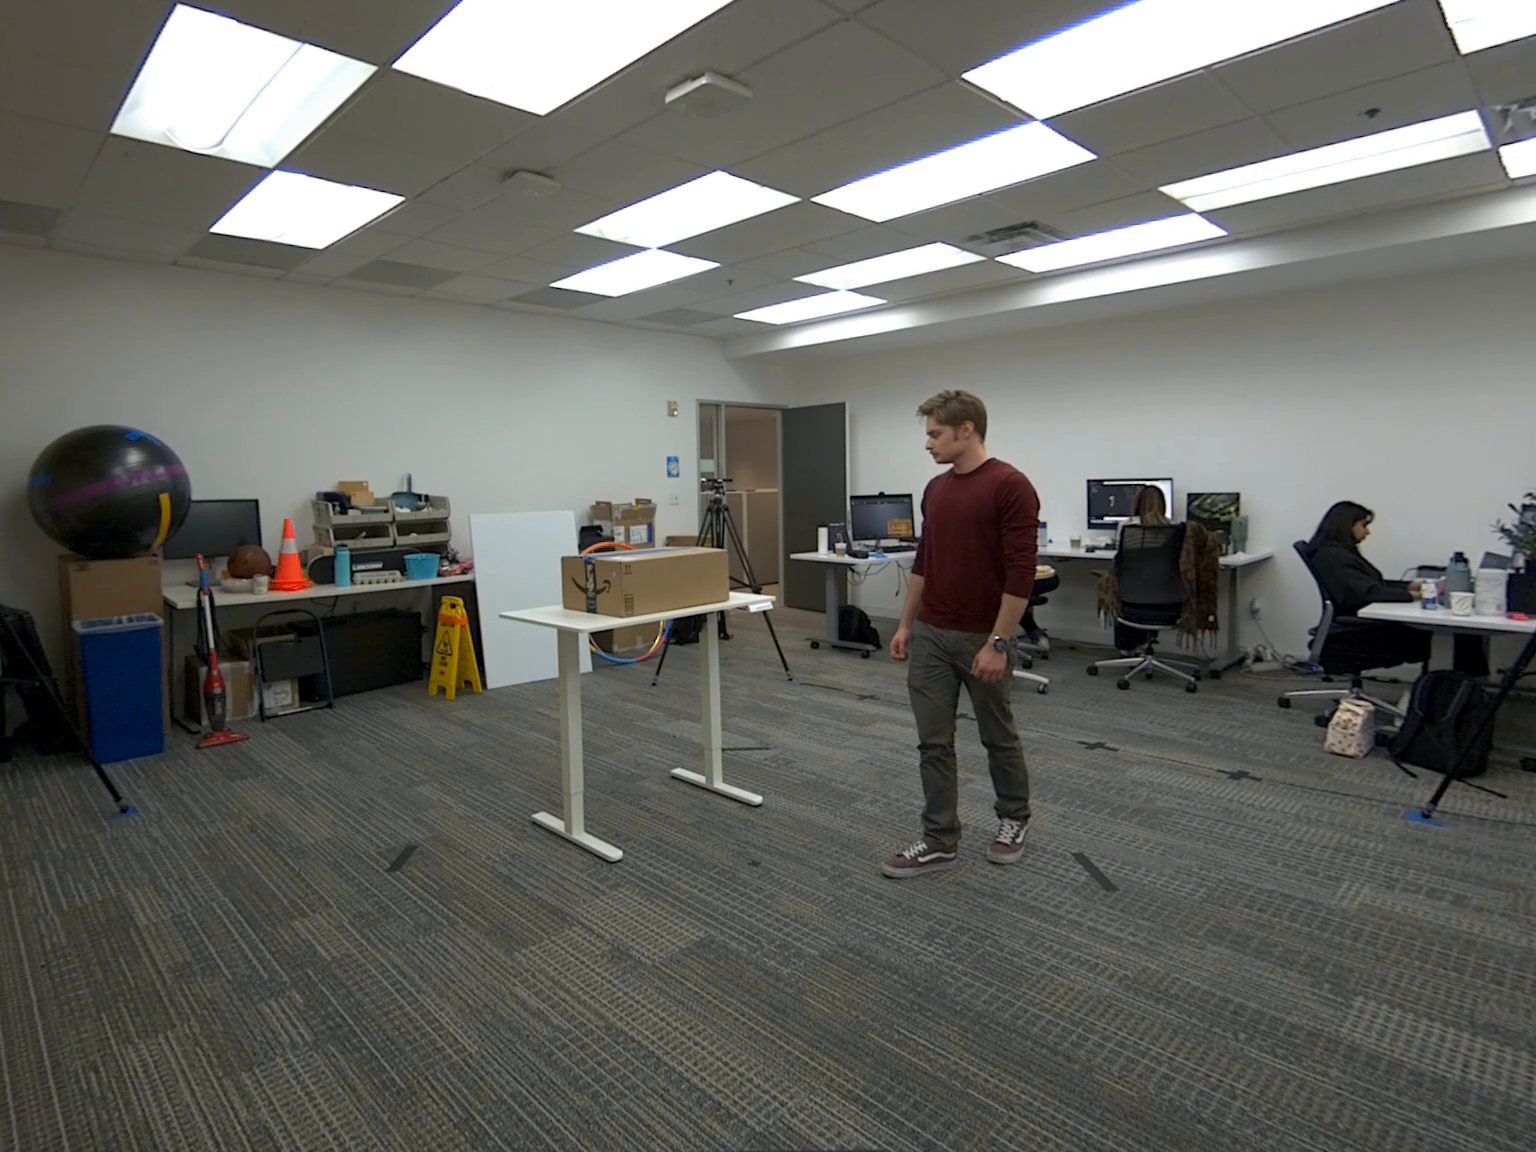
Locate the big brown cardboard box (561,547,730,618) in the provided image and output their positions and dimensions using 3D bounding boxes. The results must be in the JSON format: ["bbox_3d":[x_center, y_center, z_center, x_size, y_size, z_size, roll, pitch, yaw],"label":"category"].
[{"bbox_3d":[-0.506,0.012,3.542,0.430,0.232,0.573,4,7,44],"label":"big brown cardboard box"}]
